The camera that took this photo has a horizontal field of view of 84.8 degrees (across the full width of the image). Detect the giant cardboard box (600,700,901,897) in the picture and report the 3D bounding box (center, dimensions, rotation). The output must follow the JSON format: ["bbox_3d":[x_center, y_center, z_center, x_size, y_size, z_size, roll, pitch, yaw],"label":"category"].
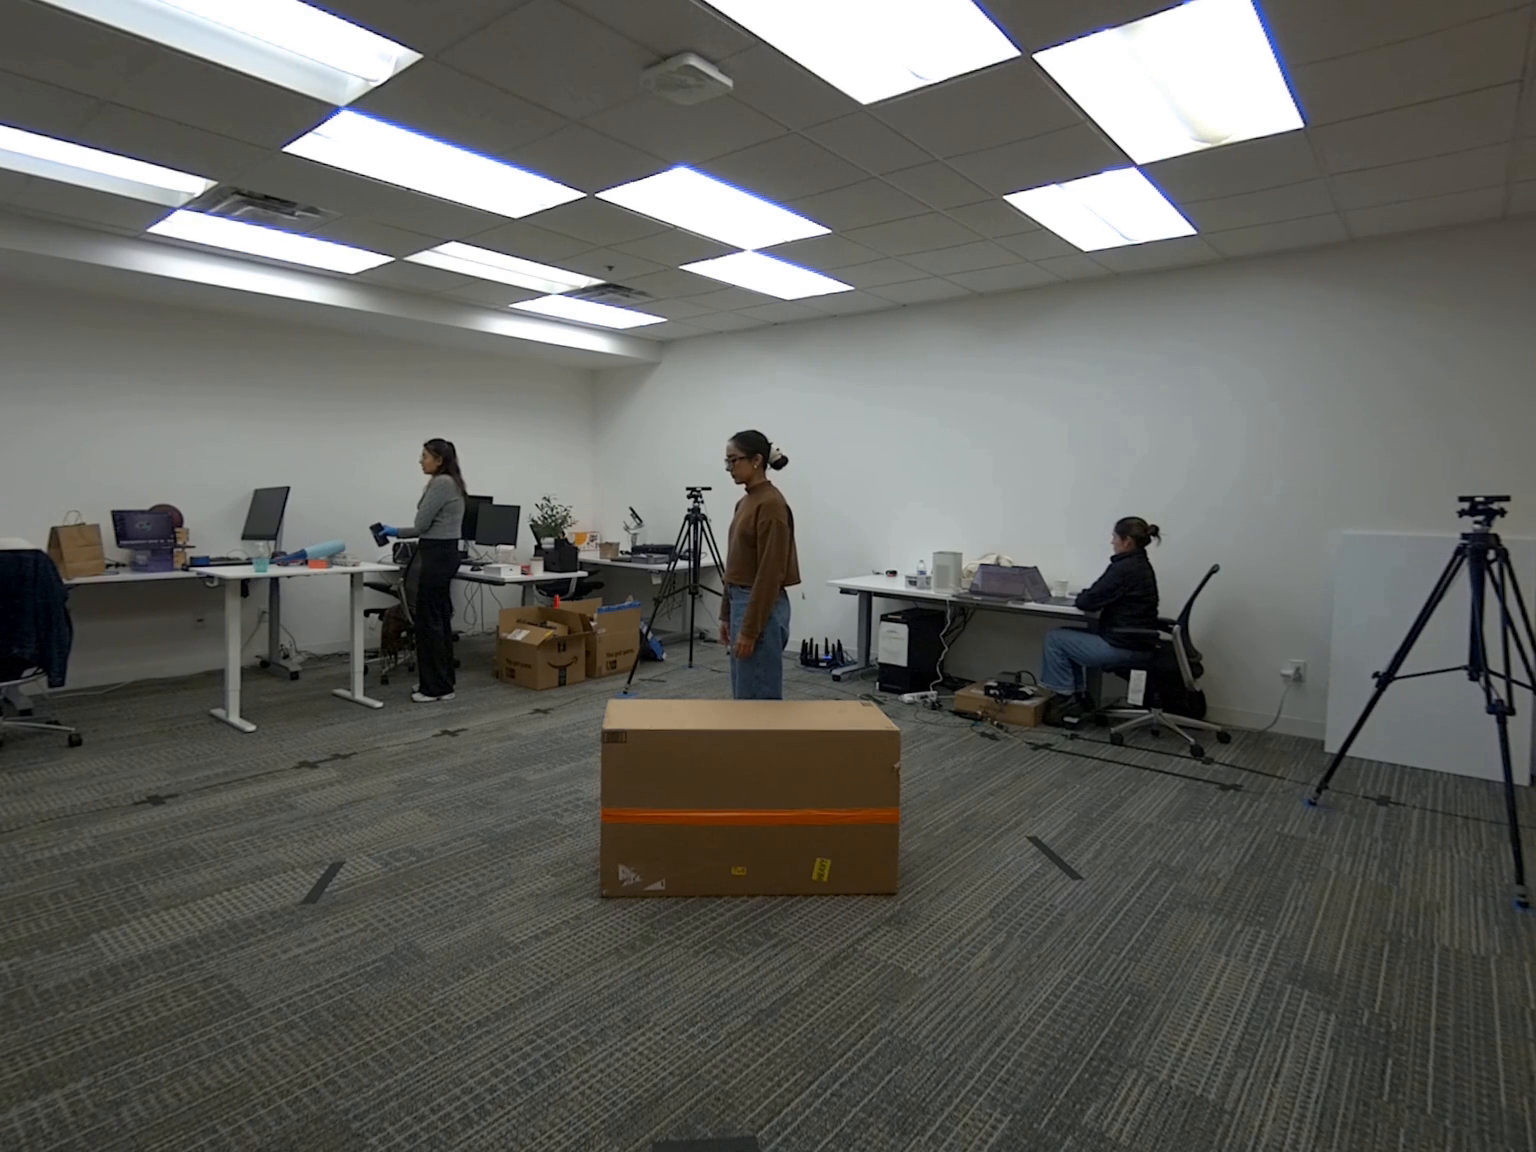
[{"bbox_3d":[-0.088,0.783,3.088,1.023,0.583,0.449,1,2,-4],"label":"giant cardboard box"}]
